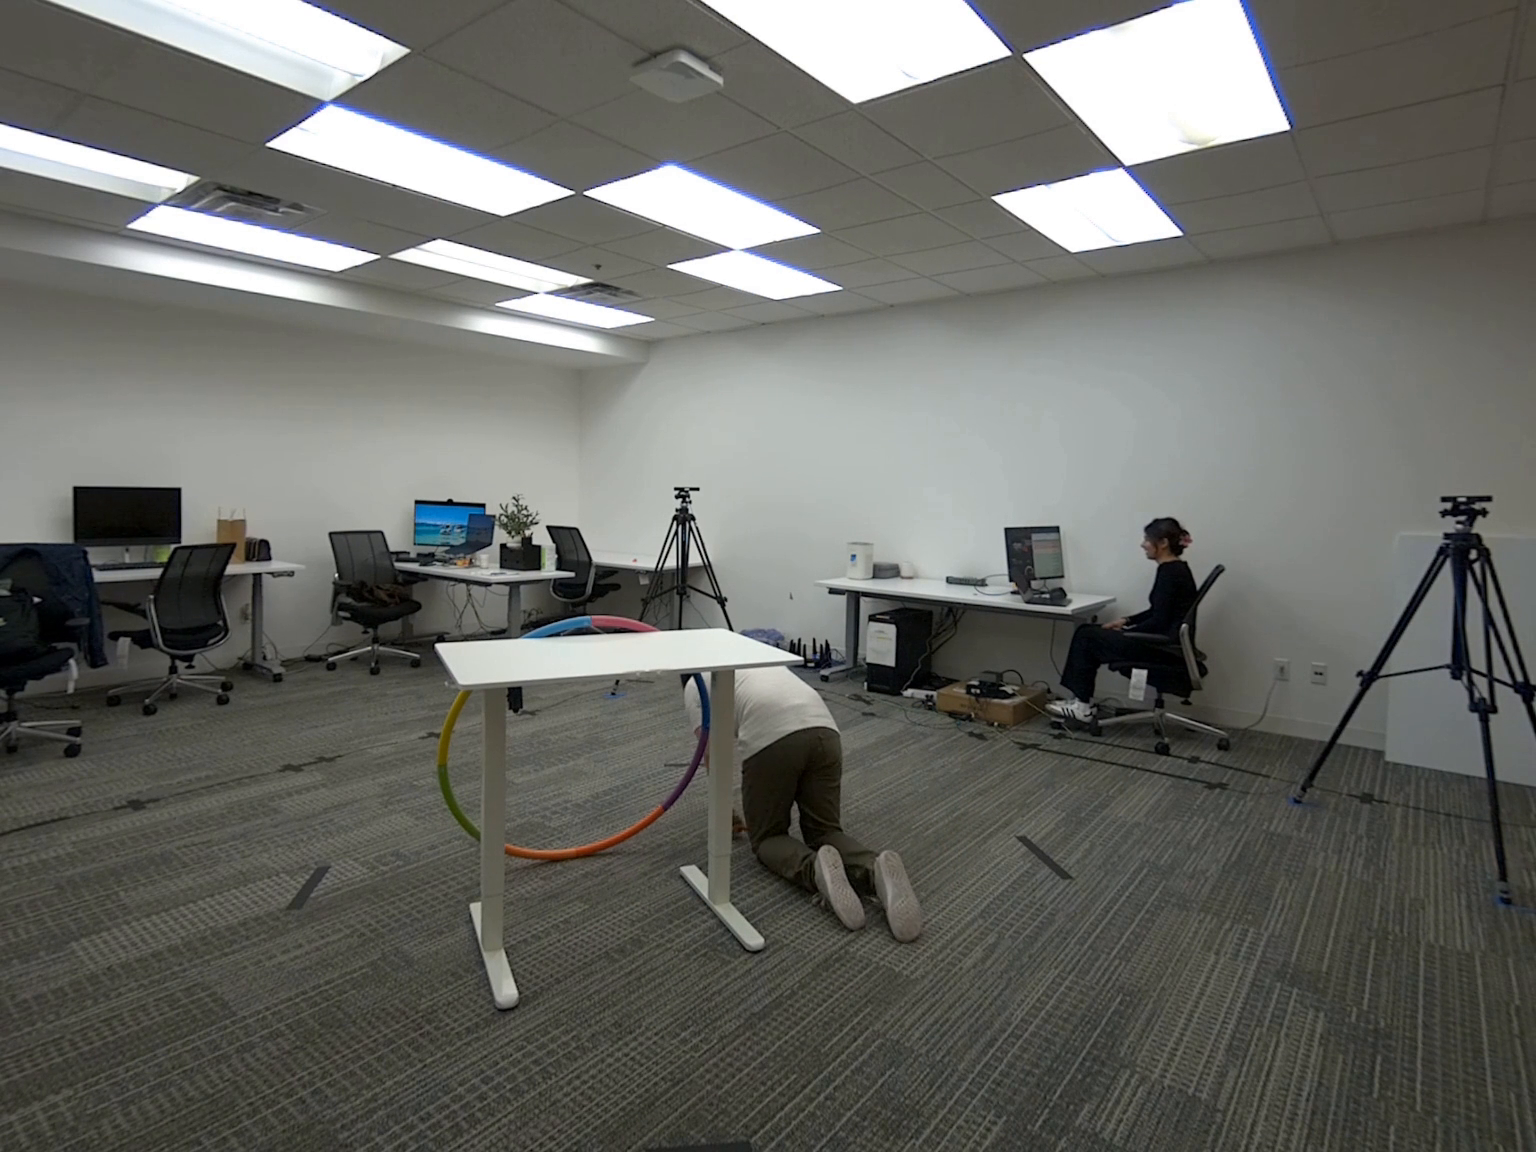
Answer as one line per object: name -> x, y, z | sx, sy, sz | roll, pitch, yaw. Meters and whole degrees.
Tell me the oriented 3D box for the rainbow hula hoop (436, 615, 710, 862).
rainbow hula hoop -> -0.691, 0.598, 3.046 | 0.955, 0.965, 0.037 | -1, 20, -25
